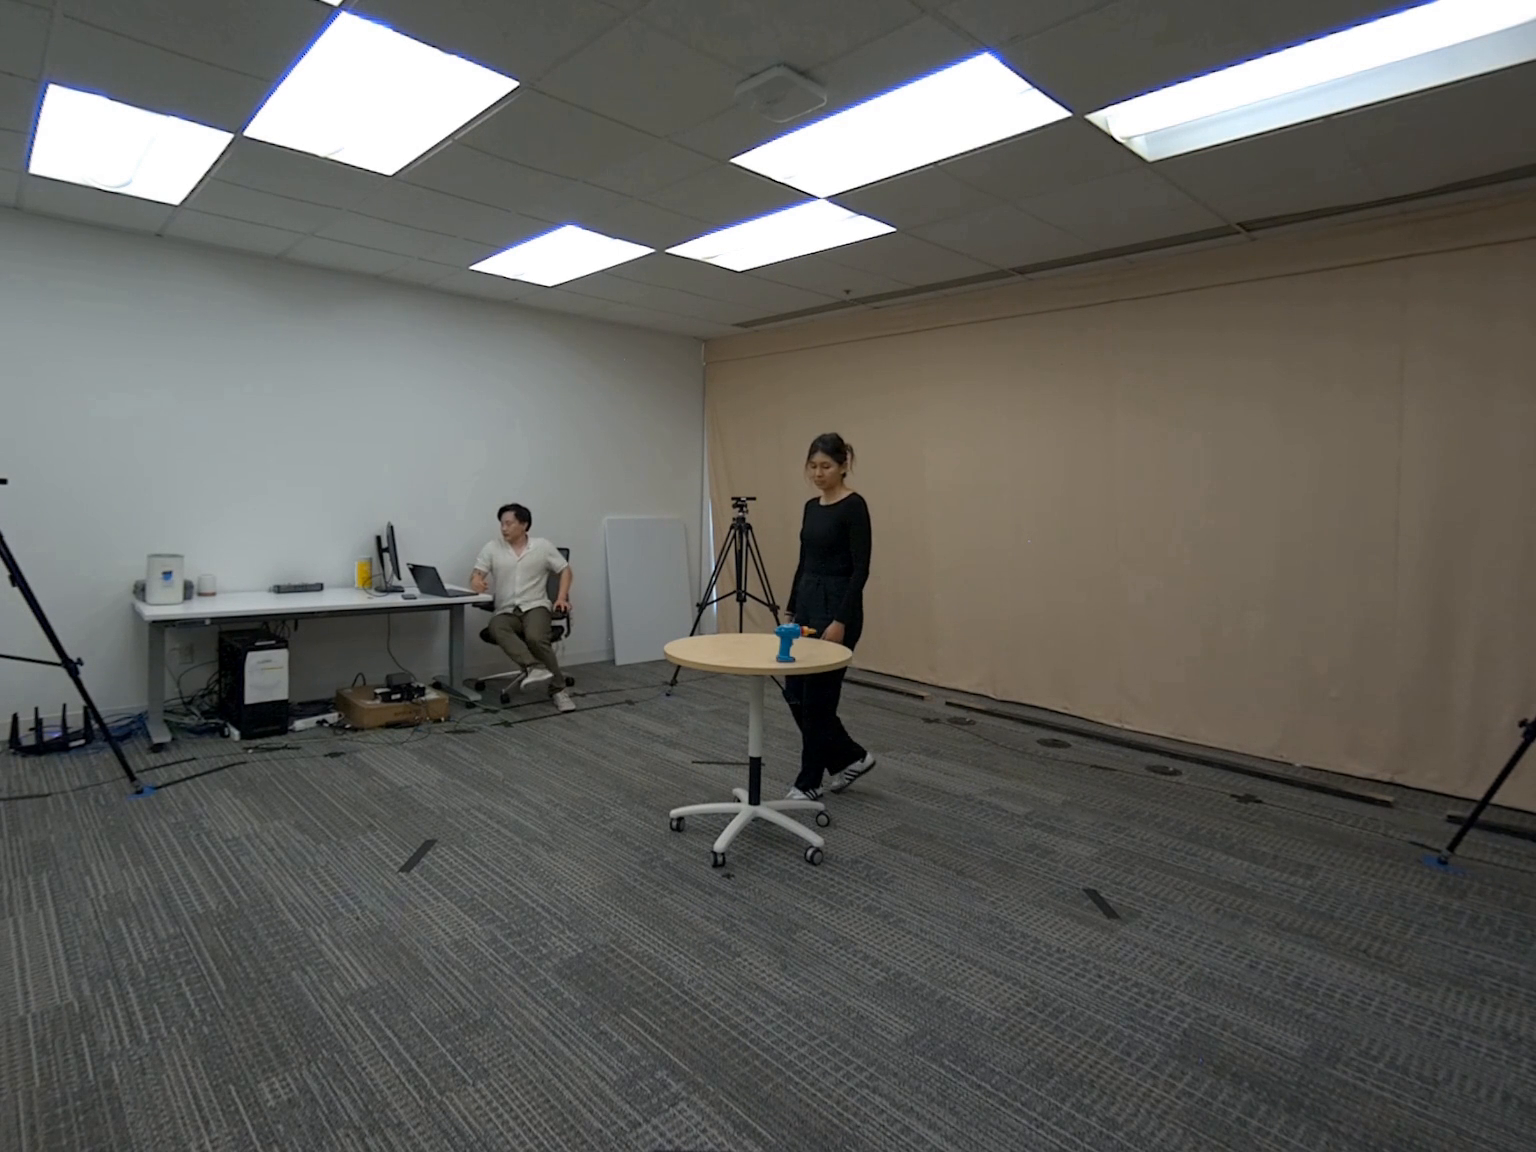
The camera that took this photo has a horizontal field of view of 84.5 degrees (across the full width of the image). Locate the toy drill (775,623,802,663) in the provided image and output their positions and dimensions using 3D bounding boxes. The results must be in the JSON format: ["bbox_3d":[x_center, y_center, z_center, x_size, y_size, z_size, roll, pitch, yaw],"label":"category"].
[{"bbox_3d":[0.097,0.250,3.187,0.167,0.145,0.062,-1,4,-20],"label":"toy drill"}]
